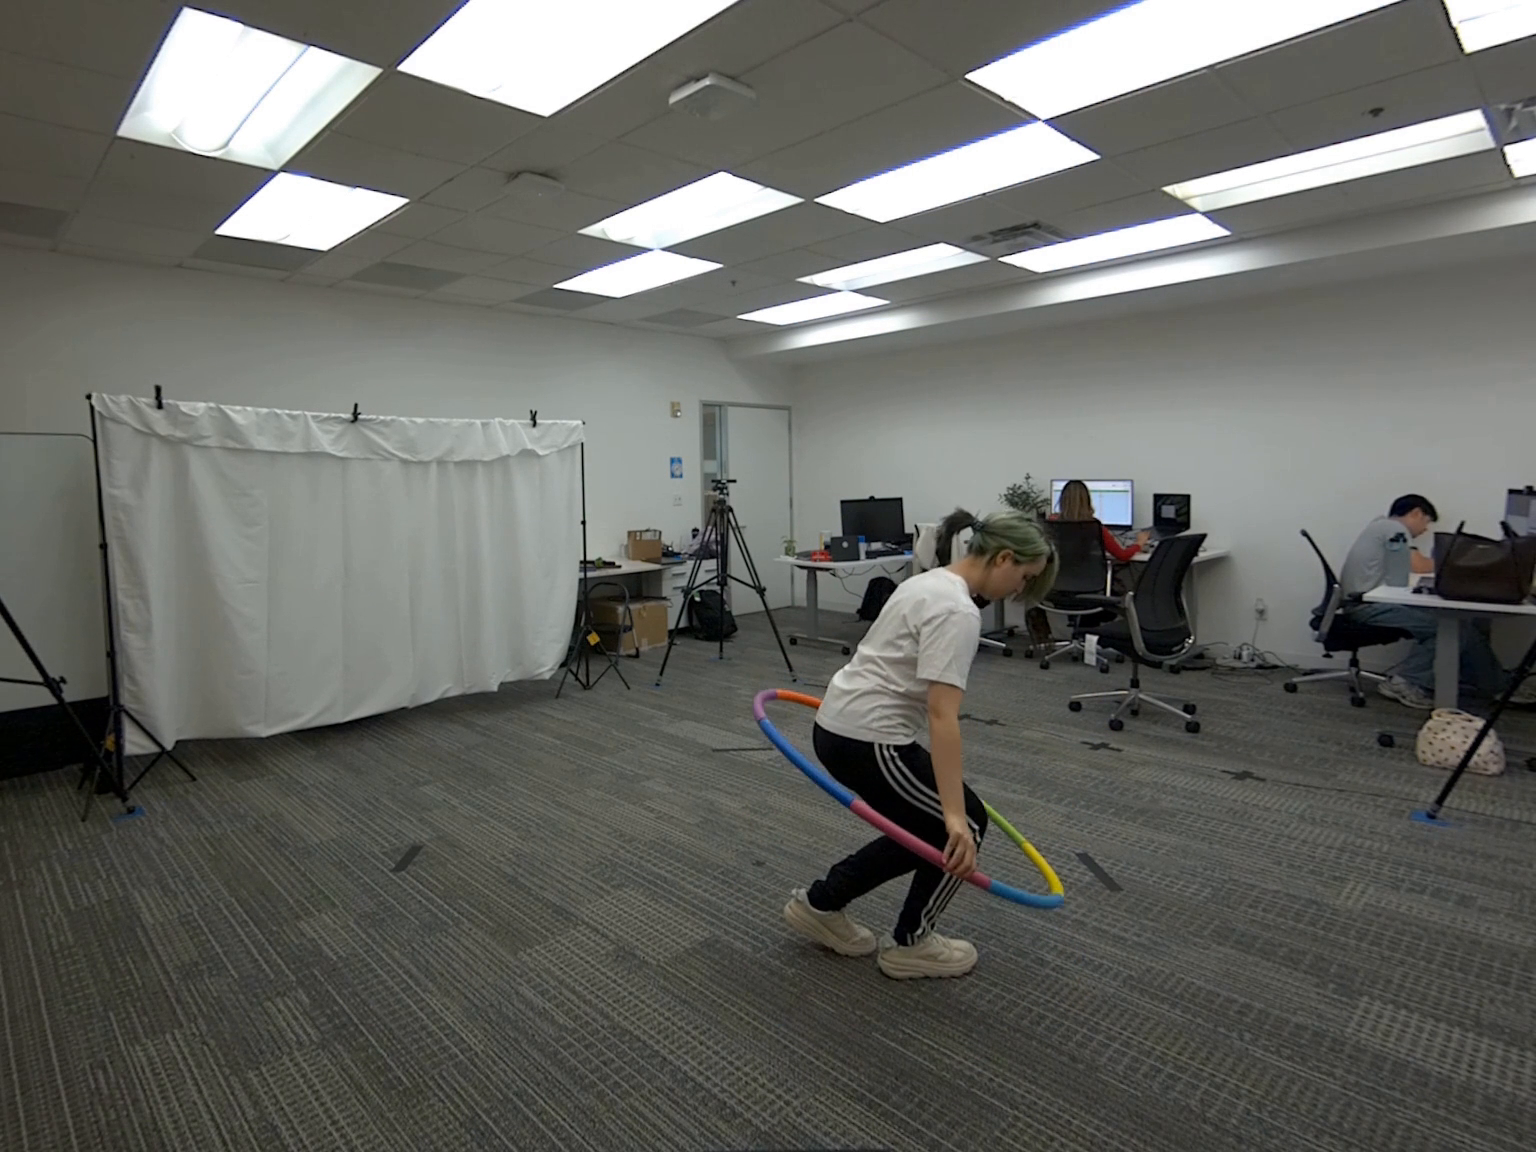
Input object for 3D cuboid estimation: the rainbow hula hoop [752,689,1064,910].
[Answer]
[{"bbox_3d":[0.397,0.606,2.465,0.980,0.051,0.993,30,6,-5],"label":"rainbow hula hoop"}]
